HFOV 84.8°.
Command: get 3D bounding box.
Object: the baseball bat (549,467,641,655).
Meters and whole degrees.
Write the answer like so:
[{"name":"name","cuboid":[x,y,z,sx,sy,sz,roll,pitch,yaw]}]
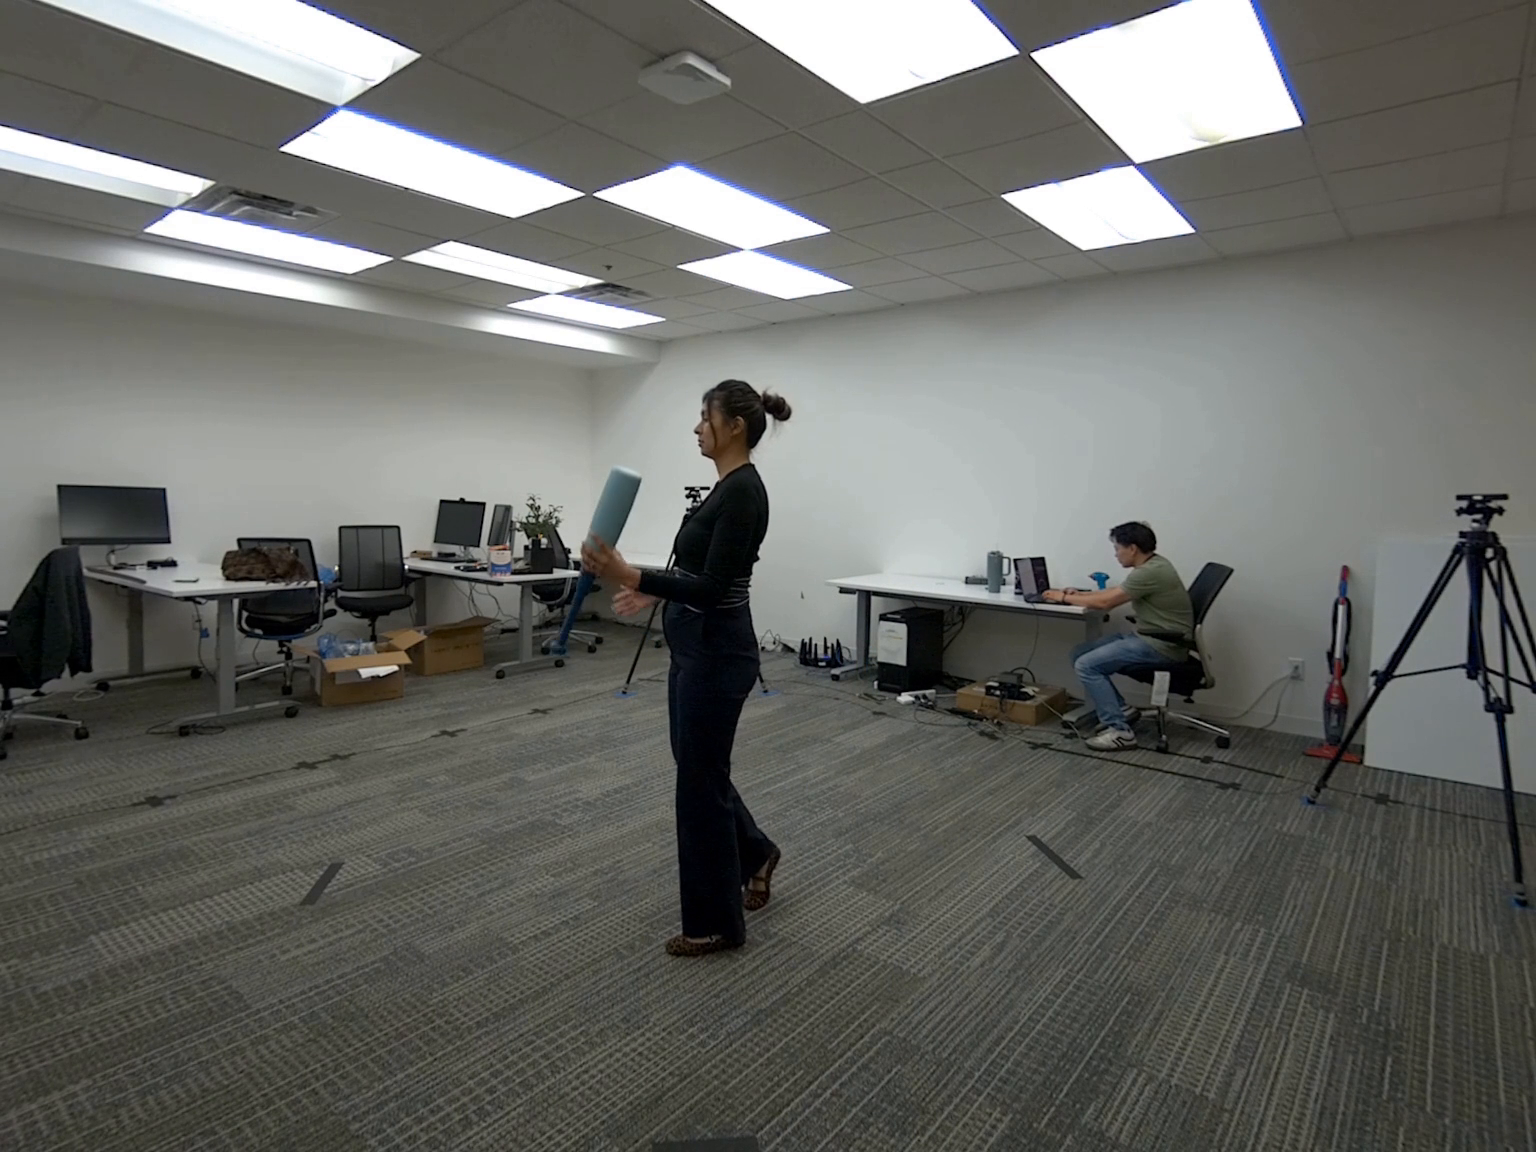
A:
[{"name":"baseball bat","cuboid":[-0.469,-0.037,2.294,0.088,0.540,0.090,21,12,-7]}]
